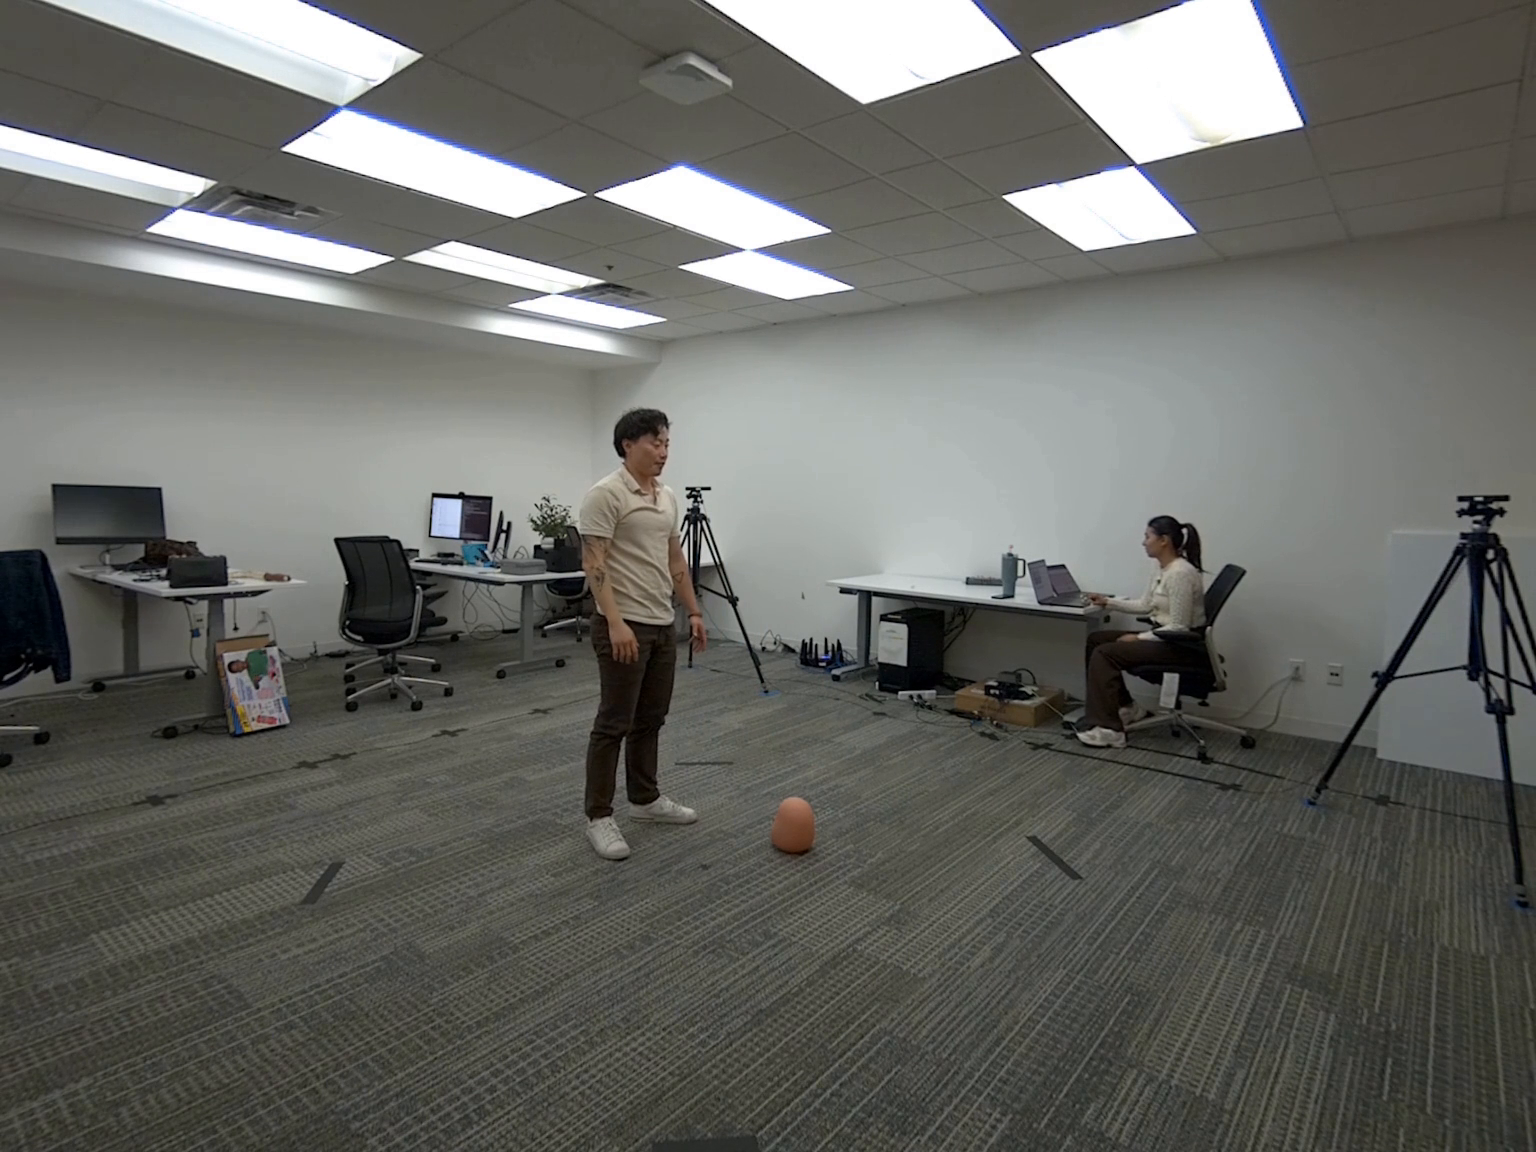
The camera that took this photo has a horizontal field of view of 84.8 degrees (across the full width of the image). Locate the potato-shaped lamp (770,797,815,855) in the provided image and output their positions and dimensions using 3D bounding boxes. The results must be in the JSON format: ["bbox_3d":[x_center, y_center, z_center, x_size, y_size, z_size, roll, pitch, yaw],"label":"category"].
[{"bbox_3d":[0.088,0.948,3.293,0.161,0.196,0.177,-1,10,-27],"label":"potato-shaped lamp"}]
